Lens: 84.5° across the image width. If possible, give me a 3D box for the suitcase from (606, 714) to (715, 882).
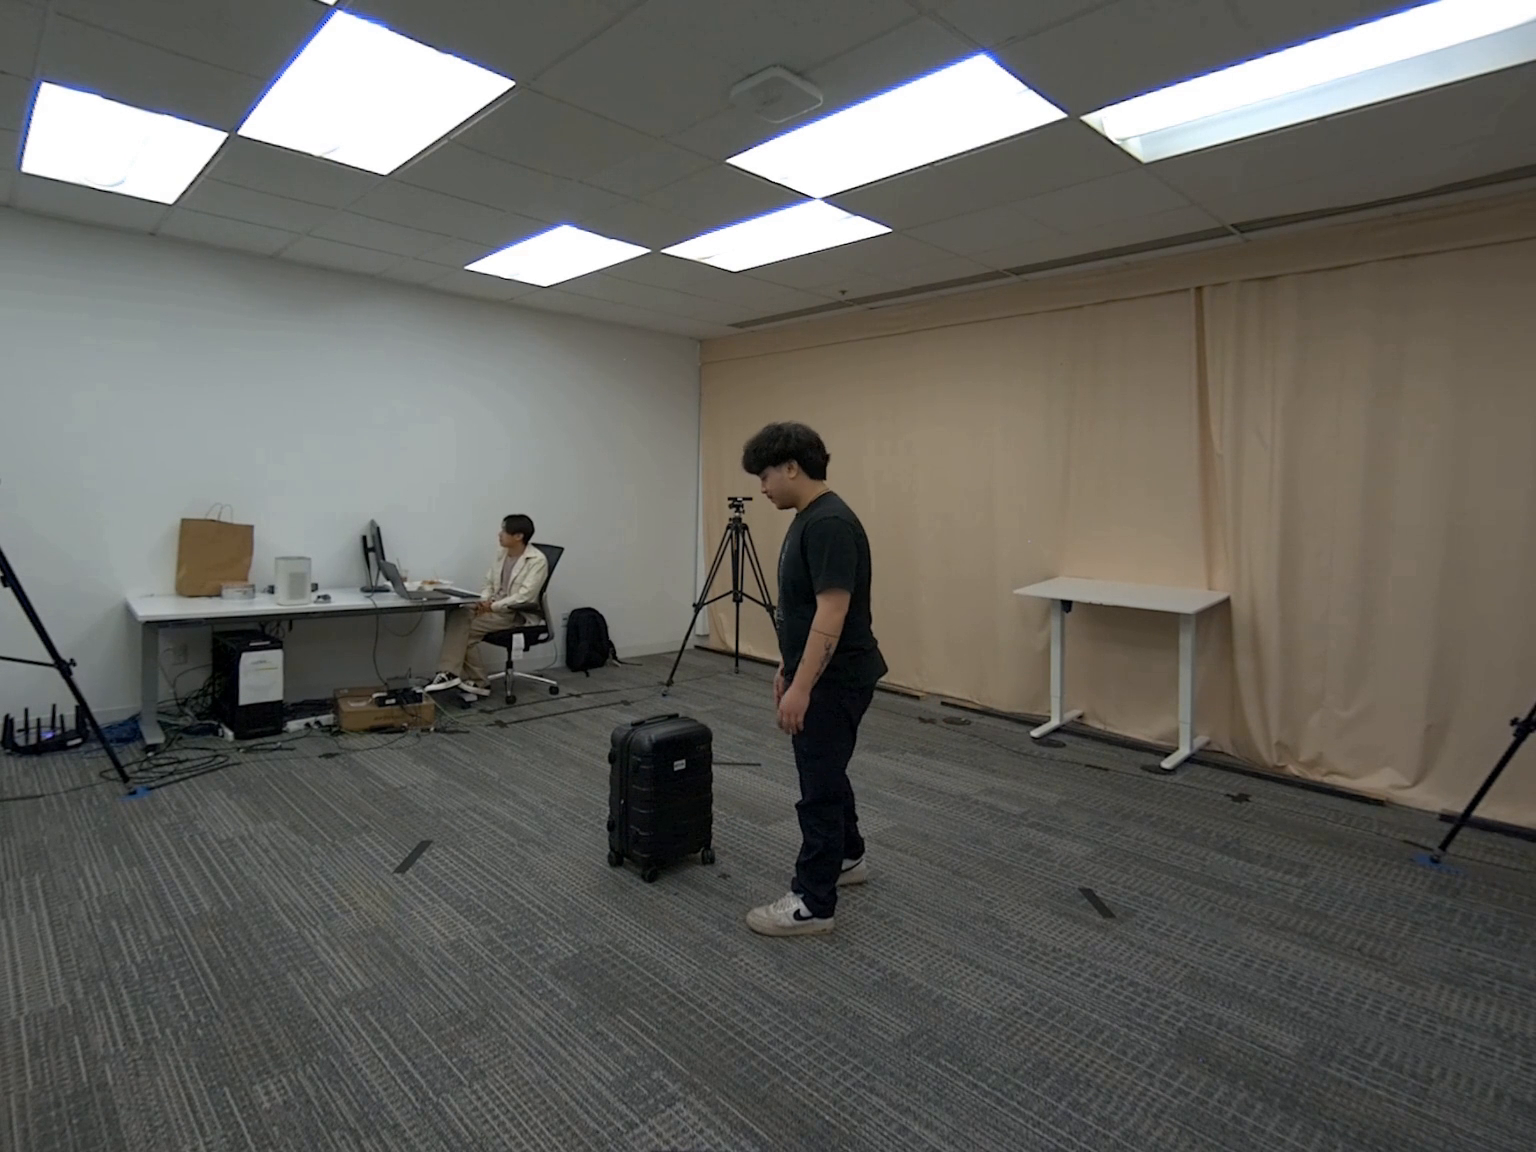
[{"bbox_3d":[-0.410,0.816,3.201,0.367,0.548,0.254,-1,3,-41],"label":"suitcase"}]
